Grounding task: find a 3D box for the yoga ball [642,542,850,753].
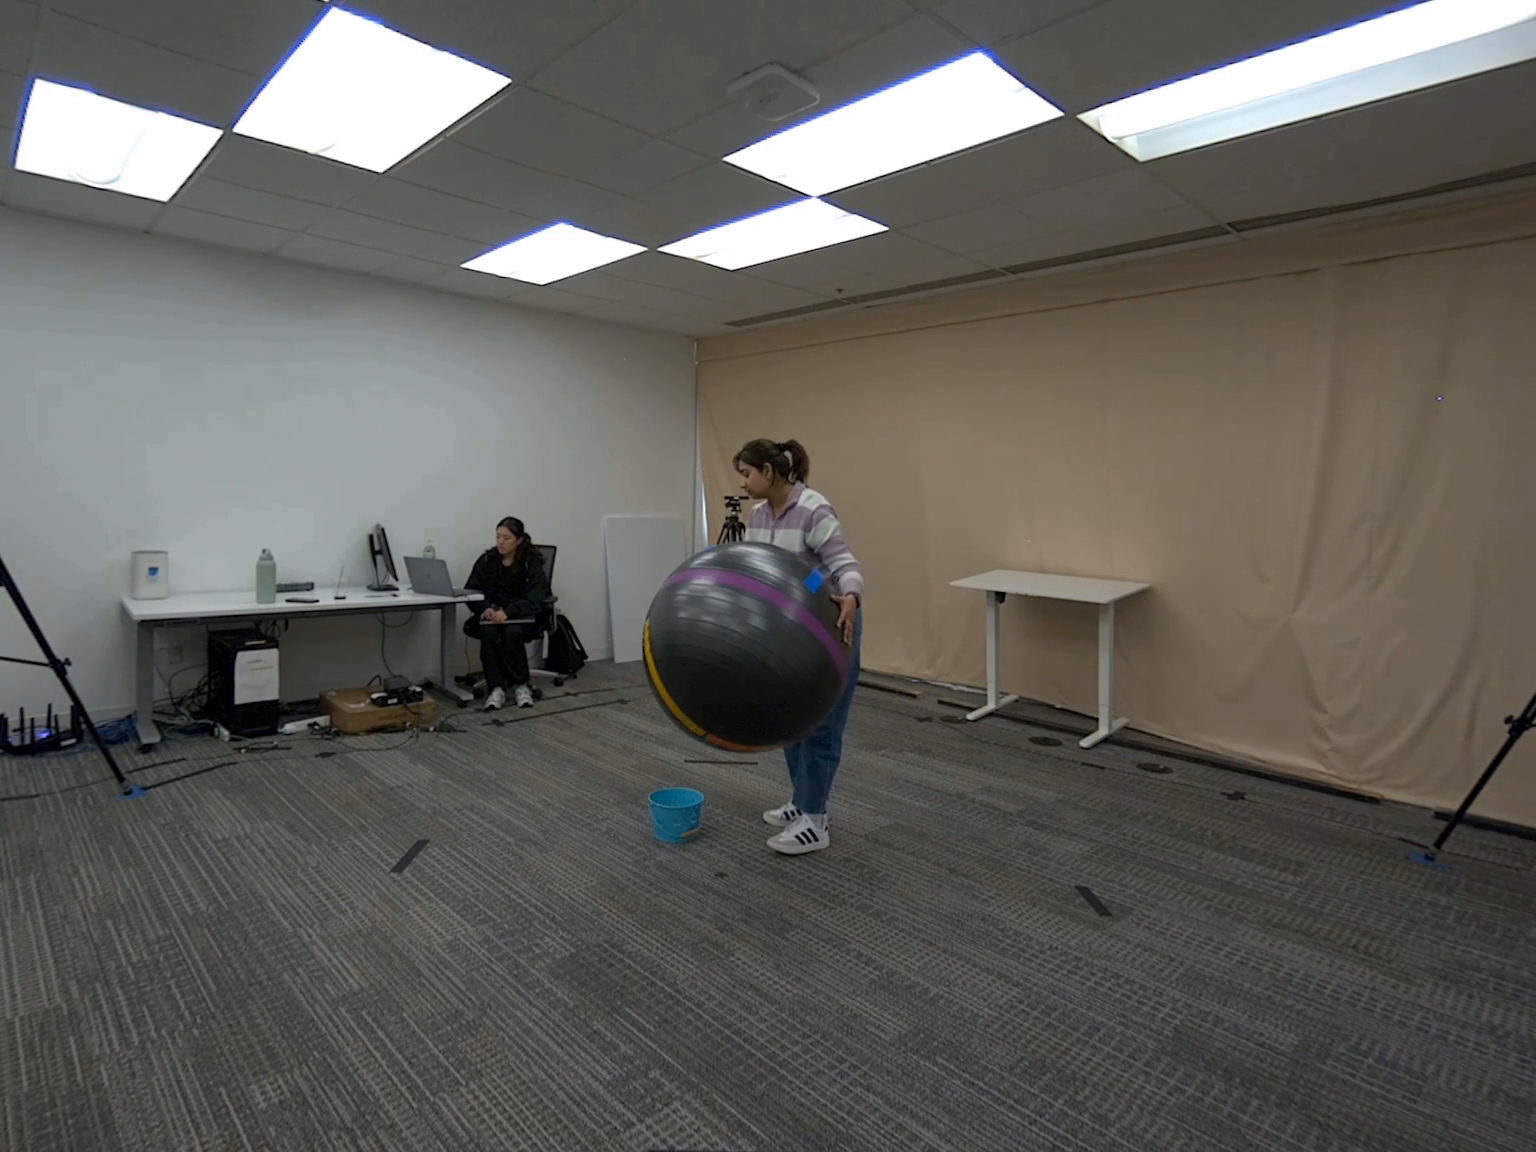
[{"bbox_3d":[-0.086,0.264,3.058,0.757,0.756,0.761,1,4,-1],"label":"yoga ball"}]
